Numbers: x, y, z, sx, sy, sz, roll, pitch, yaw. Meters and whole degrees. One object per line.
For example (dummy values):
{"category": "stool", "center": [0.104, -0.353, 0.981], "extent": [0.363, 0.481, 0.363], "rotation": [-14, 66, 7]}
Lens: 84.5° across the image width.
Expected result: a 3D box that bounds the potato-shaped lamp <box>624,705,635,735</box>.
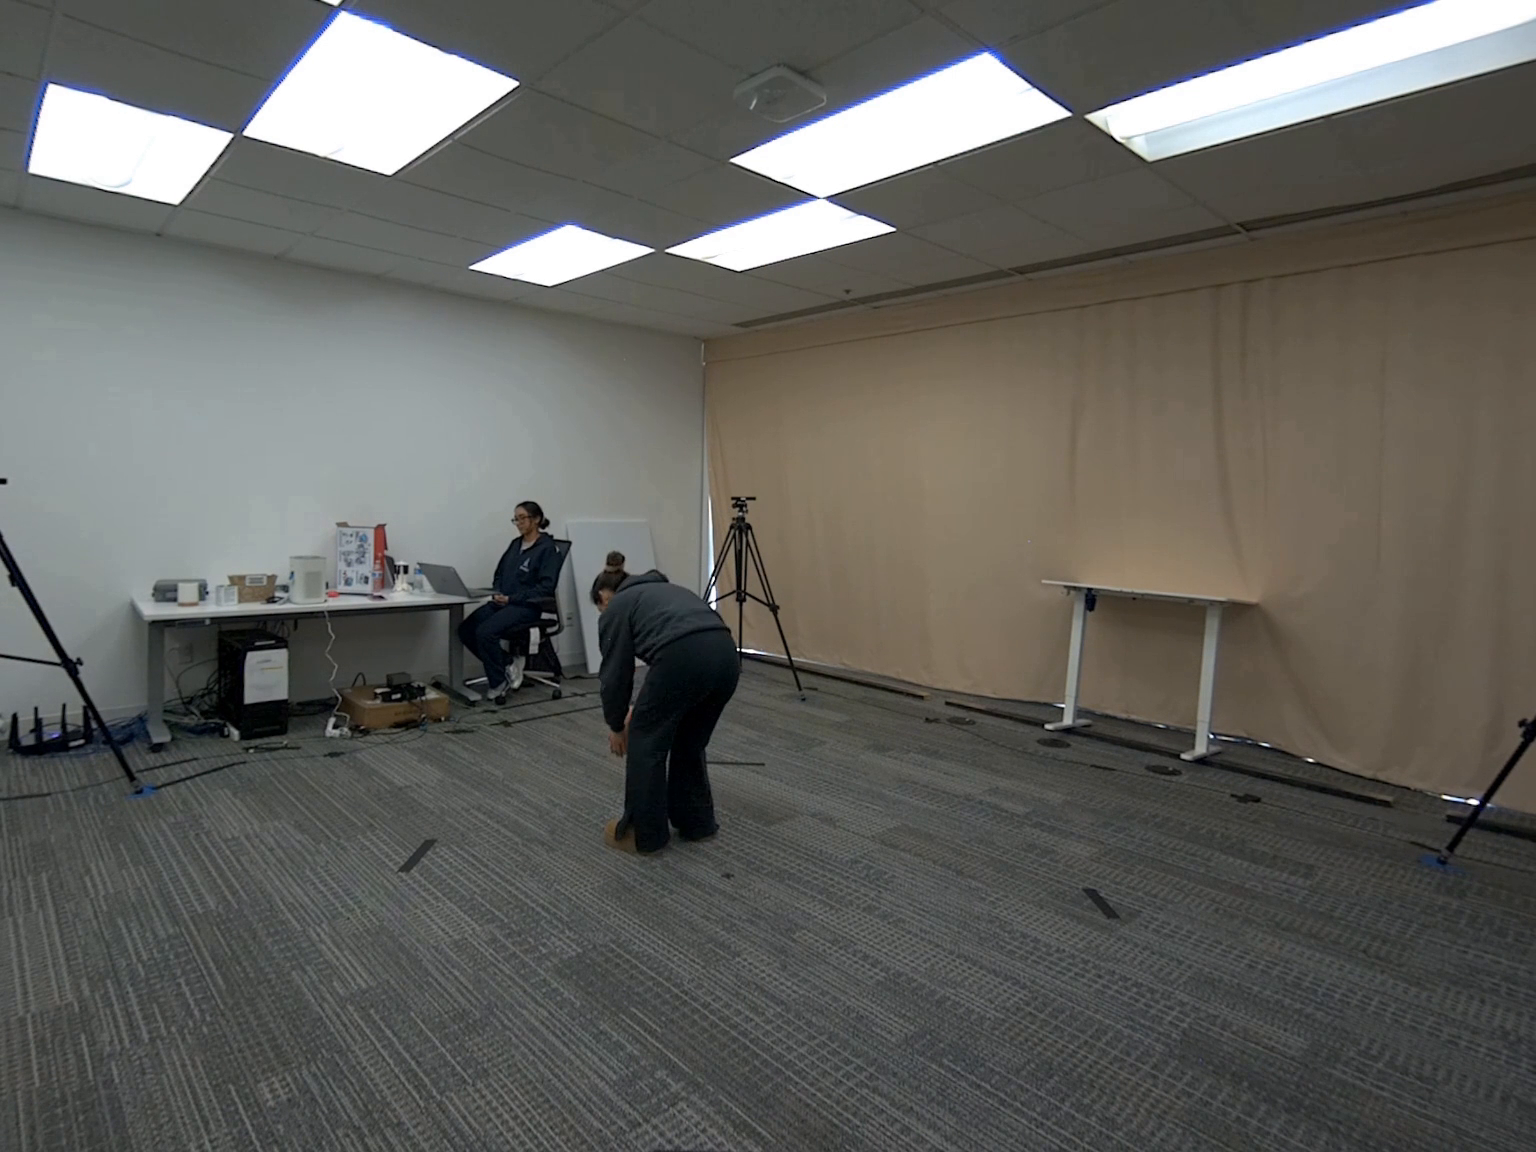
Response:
{"category": "potato-shaped lamp", "center": [-0.589, 0.652, 3.595], "extent": [0.161, 0.198, 0.176], "rotation": [3, 4, -41]}
